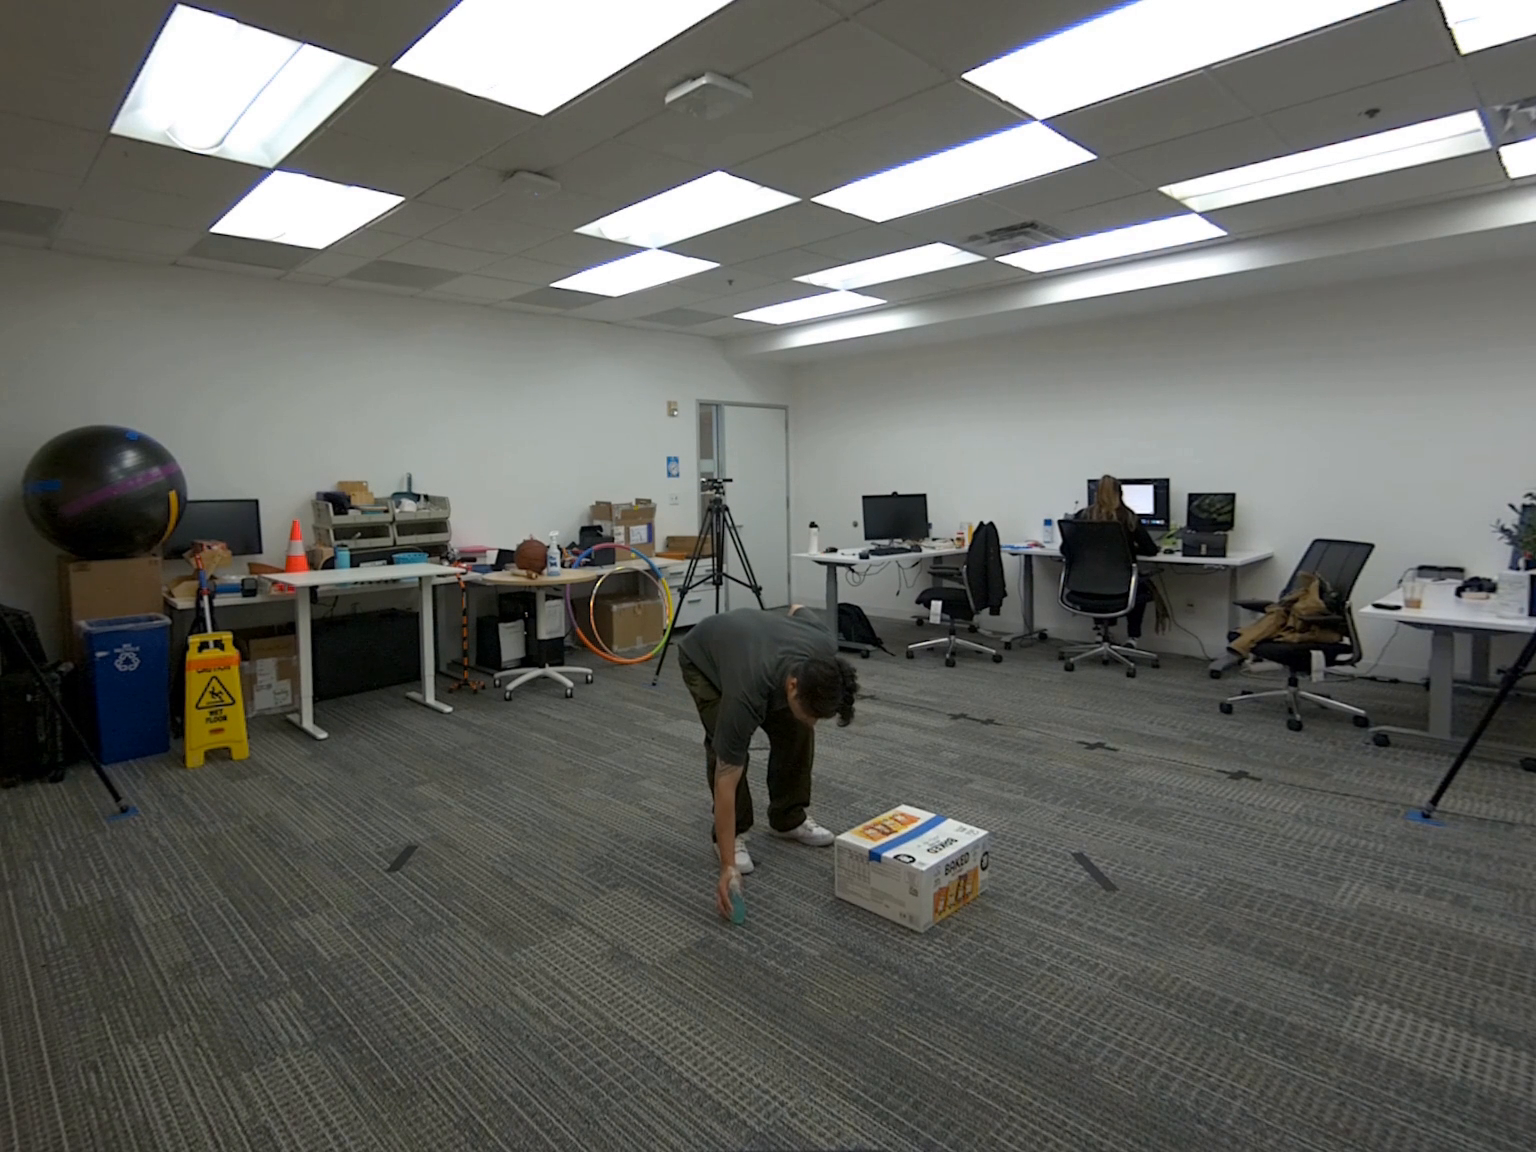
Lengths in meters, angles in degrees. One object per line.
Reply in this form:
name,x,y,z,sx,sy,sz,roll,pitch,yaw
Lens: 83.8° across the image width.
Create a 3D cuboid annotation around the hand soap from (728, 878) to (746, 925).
hand soap,-0.108,1.011,2.694,0.042,0.167,0.087,-5,11,-28
